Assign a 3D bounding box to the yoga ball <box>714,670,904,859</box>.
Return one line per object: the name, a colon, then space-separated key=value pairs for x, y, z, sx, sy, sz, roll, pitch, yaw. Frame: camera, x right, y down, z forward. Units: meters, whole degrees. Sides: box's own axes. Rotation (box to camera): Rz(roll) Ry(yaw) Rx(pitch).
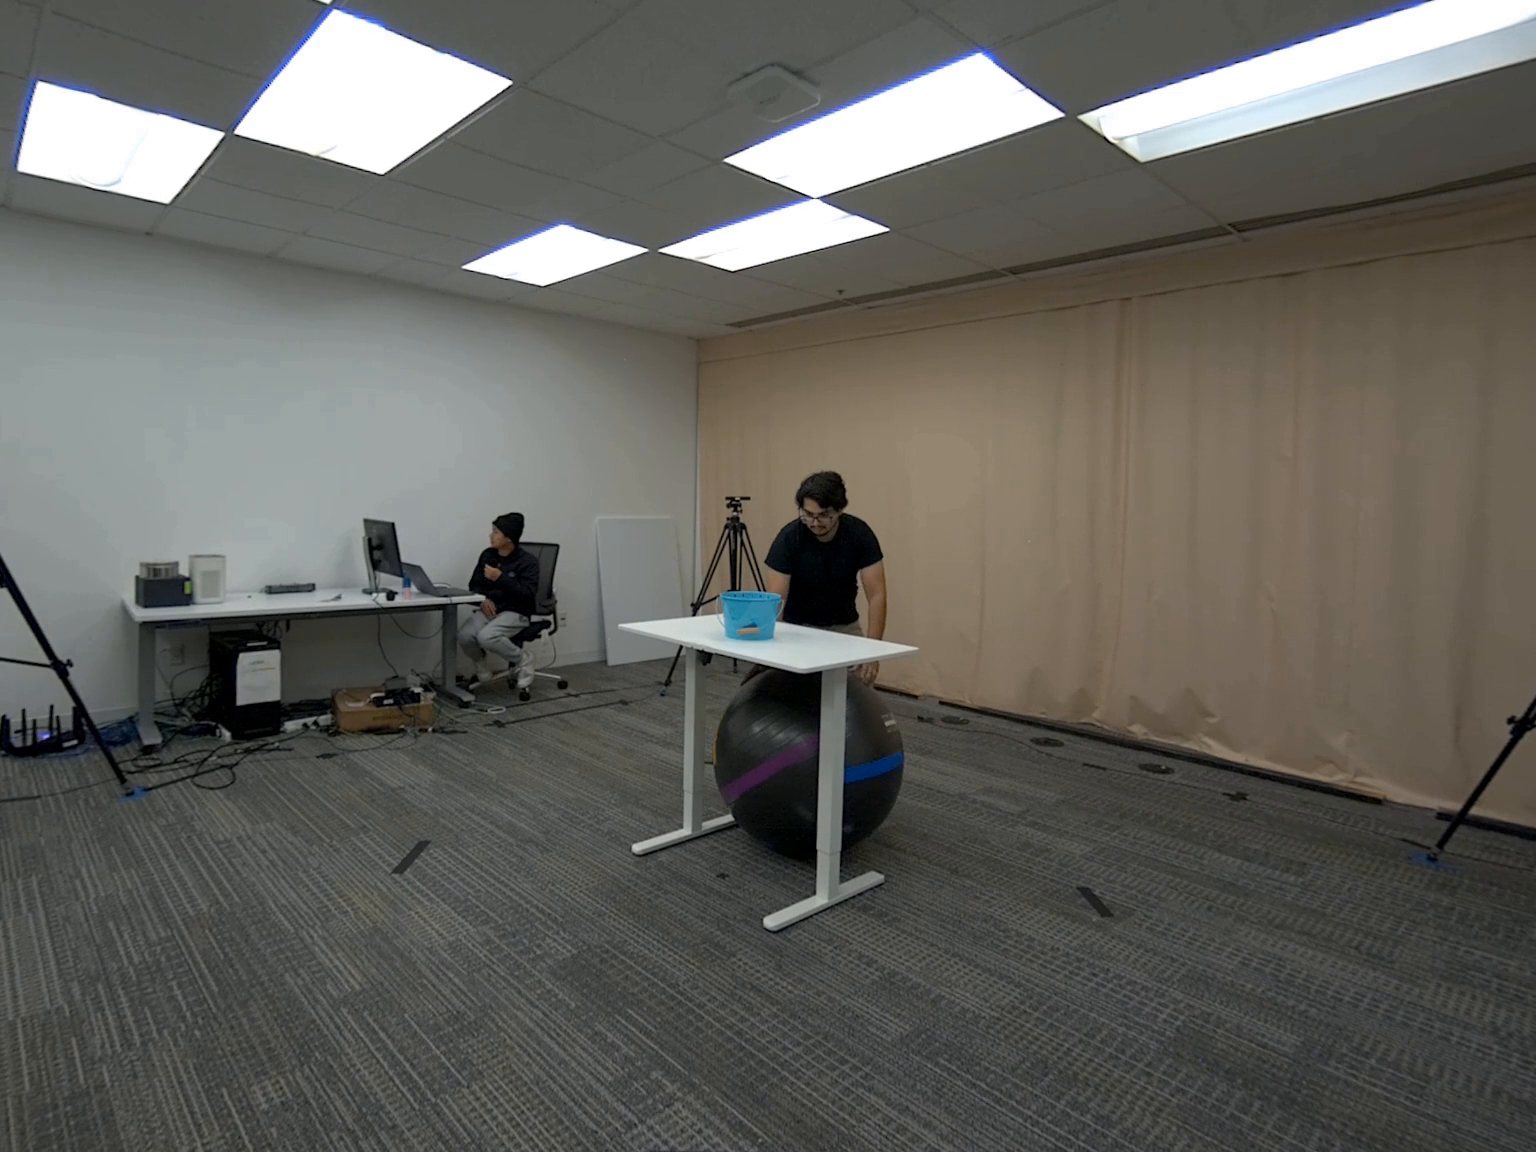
yoga ball: x=0.161 y=0.726 z=3.371 sx=0.757 sy=0.756 sz=0.761 roll=1 pitch=4 yaw=-1
